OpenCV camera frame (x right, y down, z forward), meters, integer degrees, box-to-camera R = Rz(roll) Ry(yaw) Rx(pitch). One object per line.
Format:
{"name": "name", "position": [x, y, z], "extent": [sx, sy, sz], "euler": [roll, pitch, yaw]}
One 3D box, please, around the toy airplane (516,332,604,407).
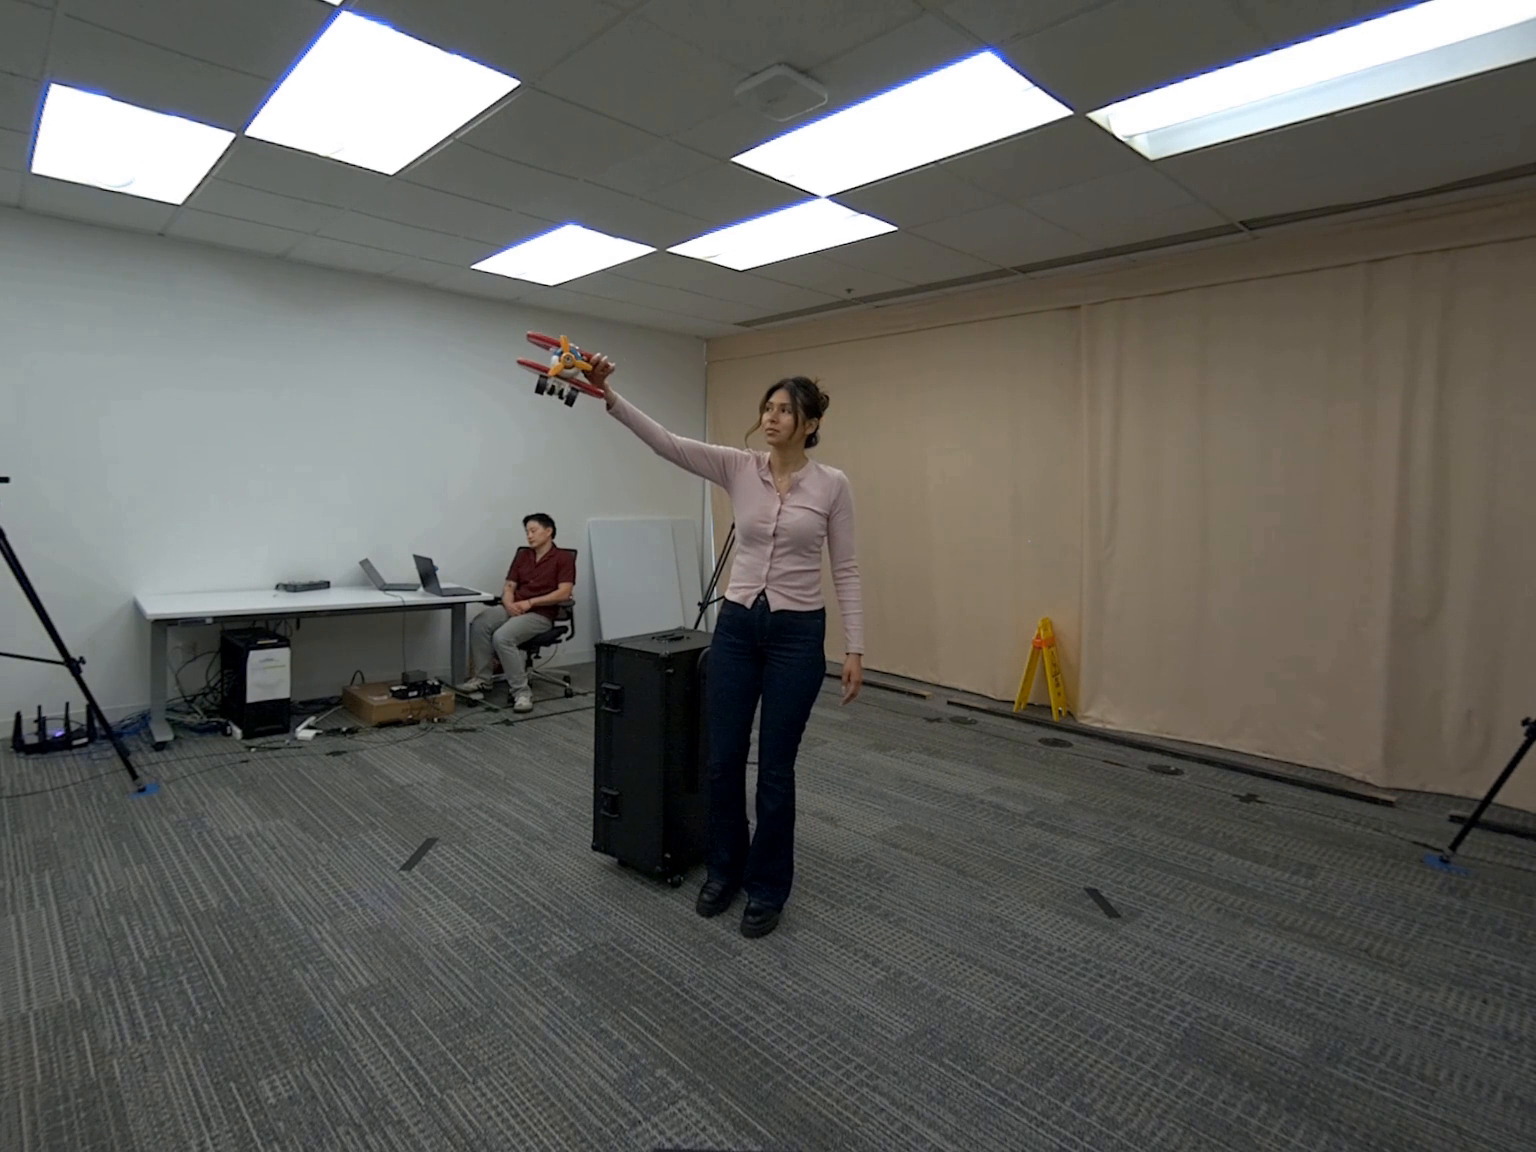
{"name": "toy airplane", "position": [-0.609, -0.581, 2.365], "extent": [0.244, 0.156, 0.267], "euler": [16, 12, -44]}
